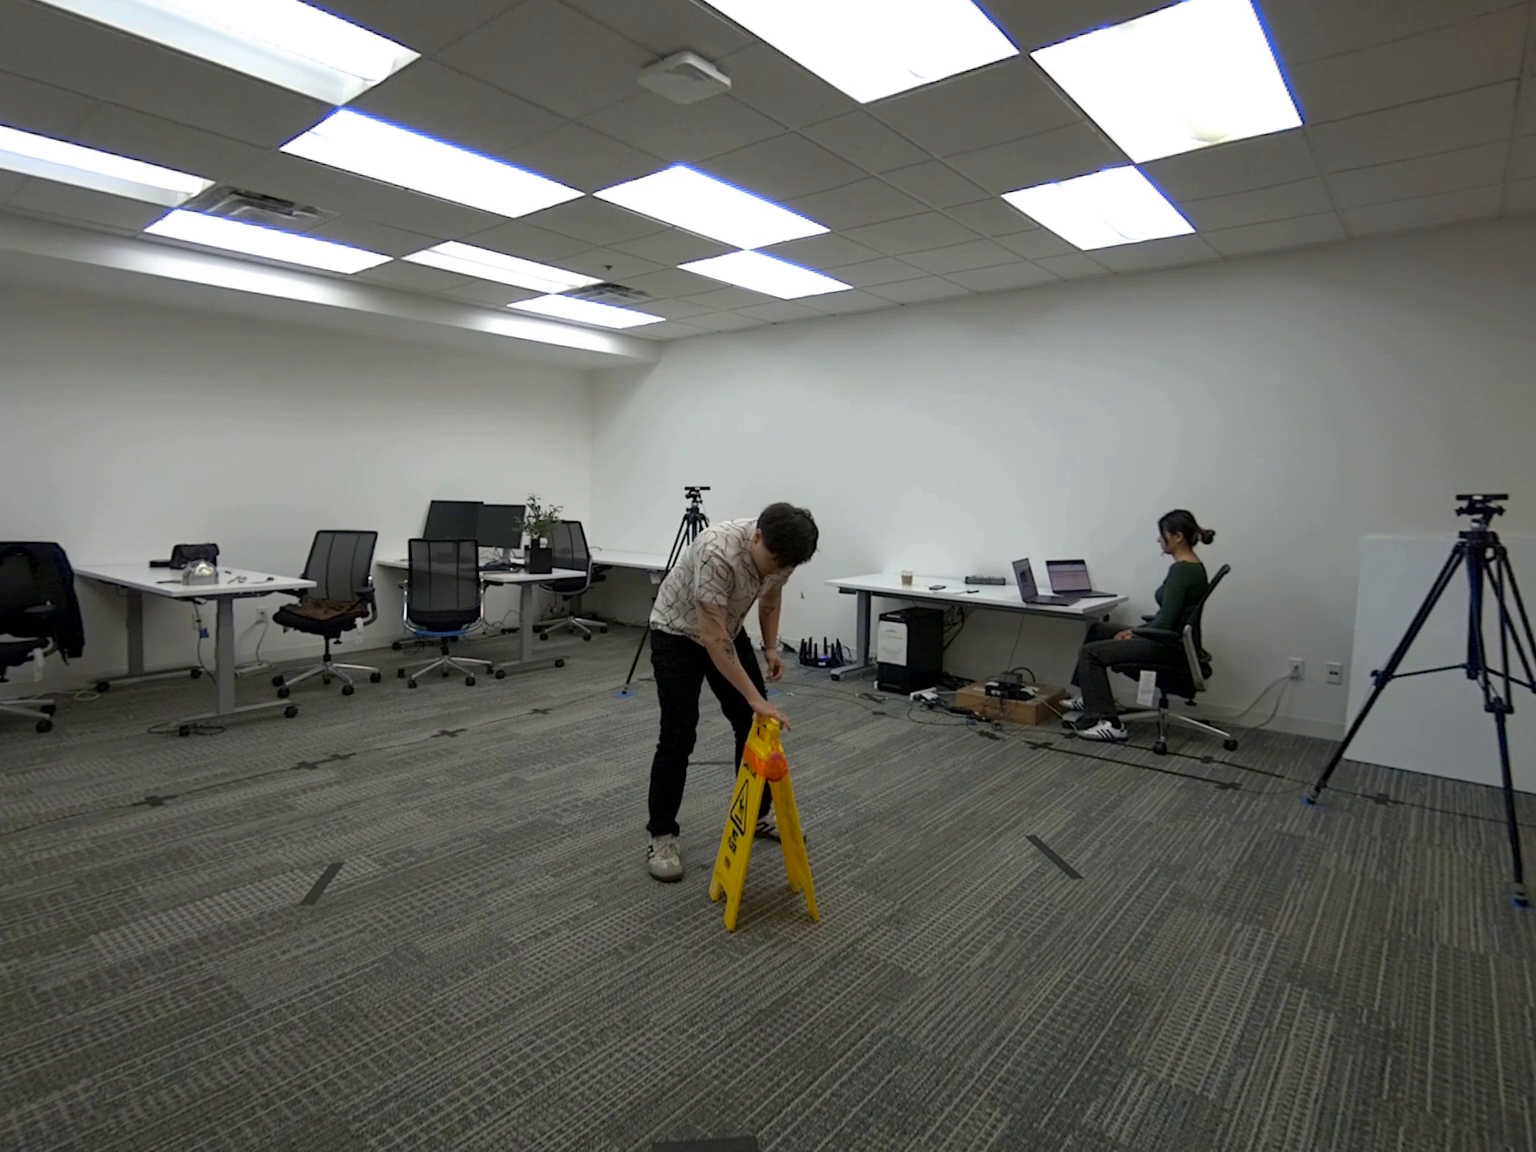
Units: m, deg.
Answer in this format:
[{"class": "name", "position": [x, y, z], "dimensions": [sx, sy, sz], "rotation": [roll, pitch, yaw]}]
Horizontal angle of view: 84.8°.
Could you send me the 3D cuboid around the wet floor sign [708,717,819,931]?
[{"class": "wet floor sign", "position": [-0.018, 0.770, 2.814], "dimensions": [0.285, 0.644, 0.288], "rotation": [1, 3, -16]}]
